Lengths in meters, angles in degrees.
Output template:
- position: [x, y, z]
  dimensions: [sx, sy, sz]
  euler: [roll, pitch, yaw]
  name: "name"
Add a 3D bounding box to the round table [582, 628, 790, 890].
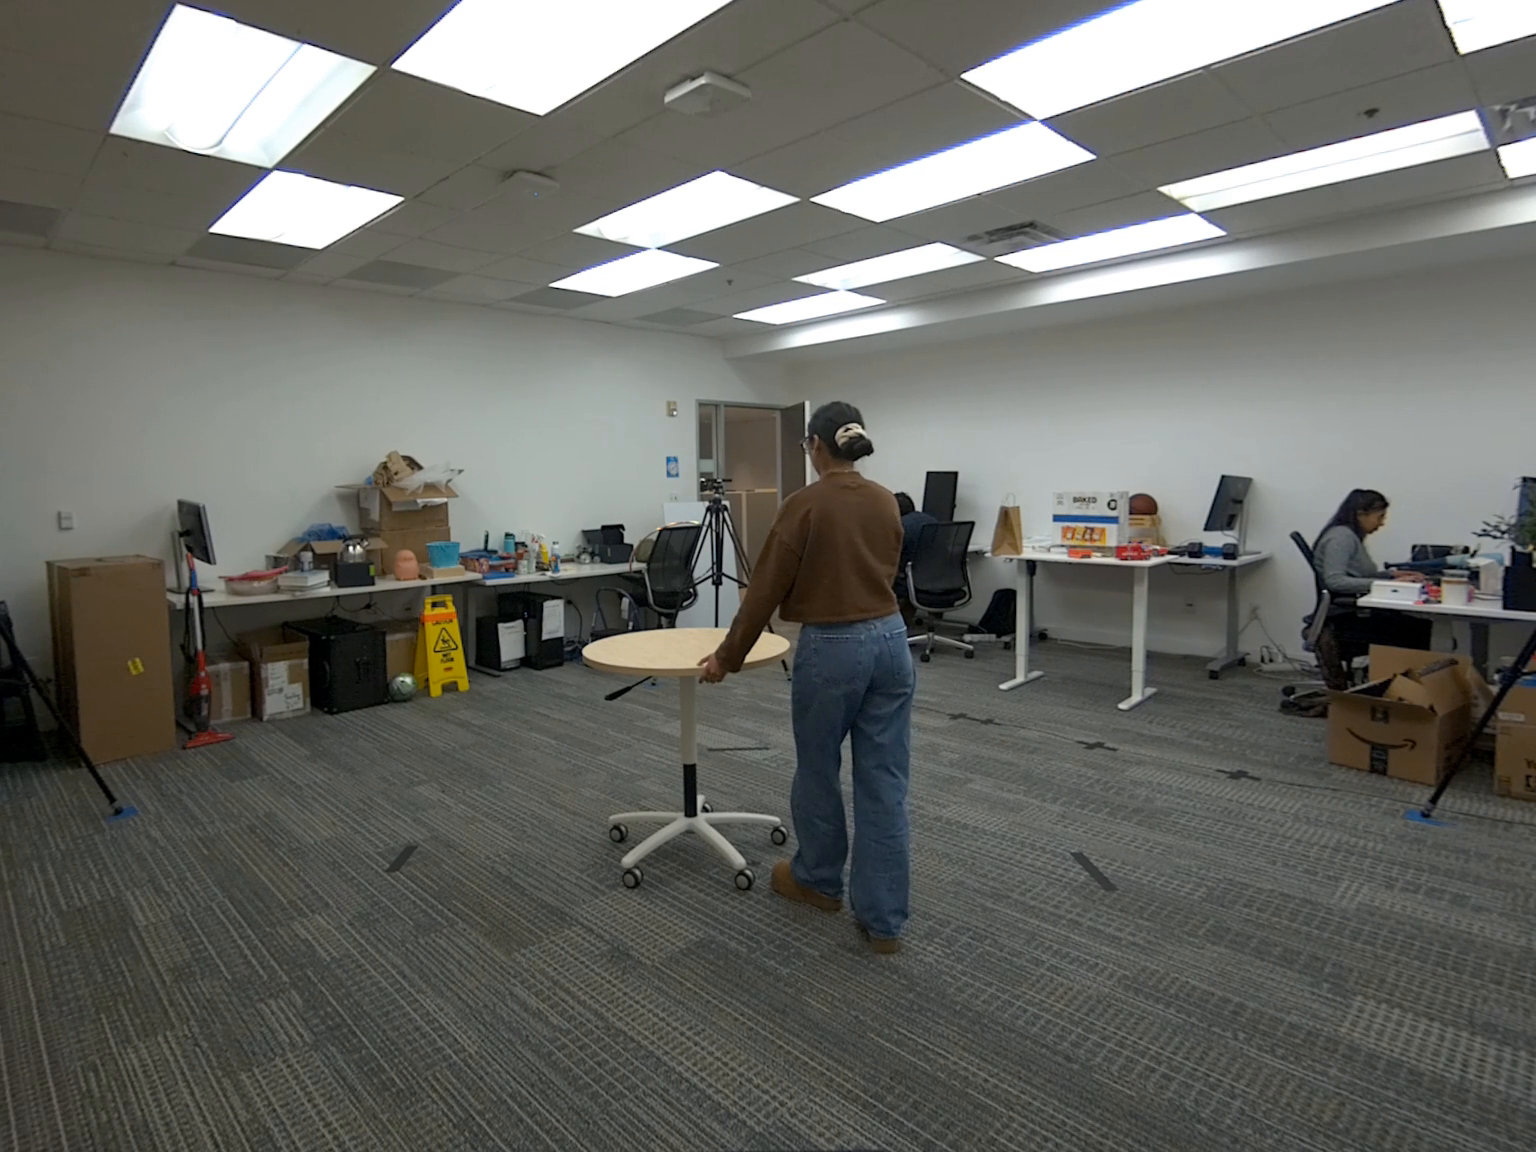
- position: [-0.275, 0.644, 3.189]
  dimensions: [0.784, 0.783, 0.789]
  euler: [-2, 5, -1]
  name: "round table"
